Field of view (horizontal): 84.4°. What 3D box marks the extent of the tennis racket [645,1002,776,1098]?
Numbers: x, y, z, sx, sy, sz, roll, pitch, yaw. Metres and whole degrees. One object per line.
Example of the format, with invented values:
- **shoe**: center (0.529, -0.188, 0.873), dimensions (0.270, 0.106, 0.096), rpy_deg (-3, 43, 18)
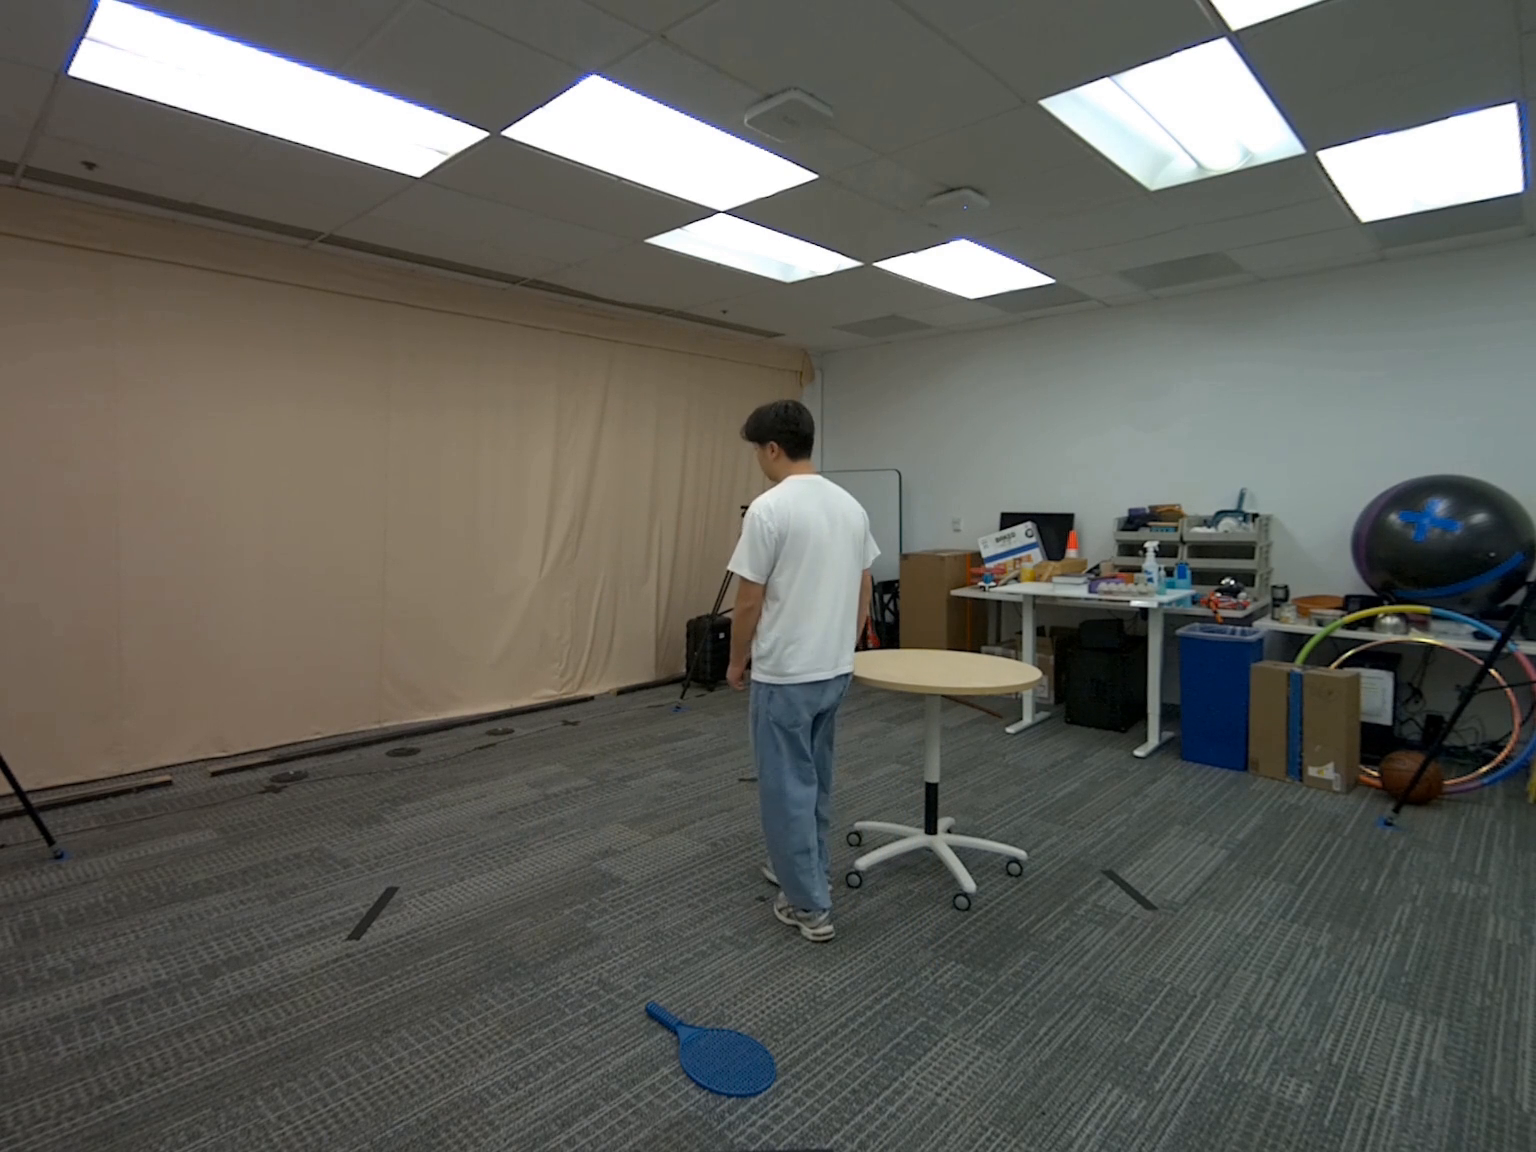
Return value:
- **tennis racket**: center (-0.161, 1.201, 2.159), dimensions (0.448, 0.031, 0.207), rpy_deg (6, 7, 44)
